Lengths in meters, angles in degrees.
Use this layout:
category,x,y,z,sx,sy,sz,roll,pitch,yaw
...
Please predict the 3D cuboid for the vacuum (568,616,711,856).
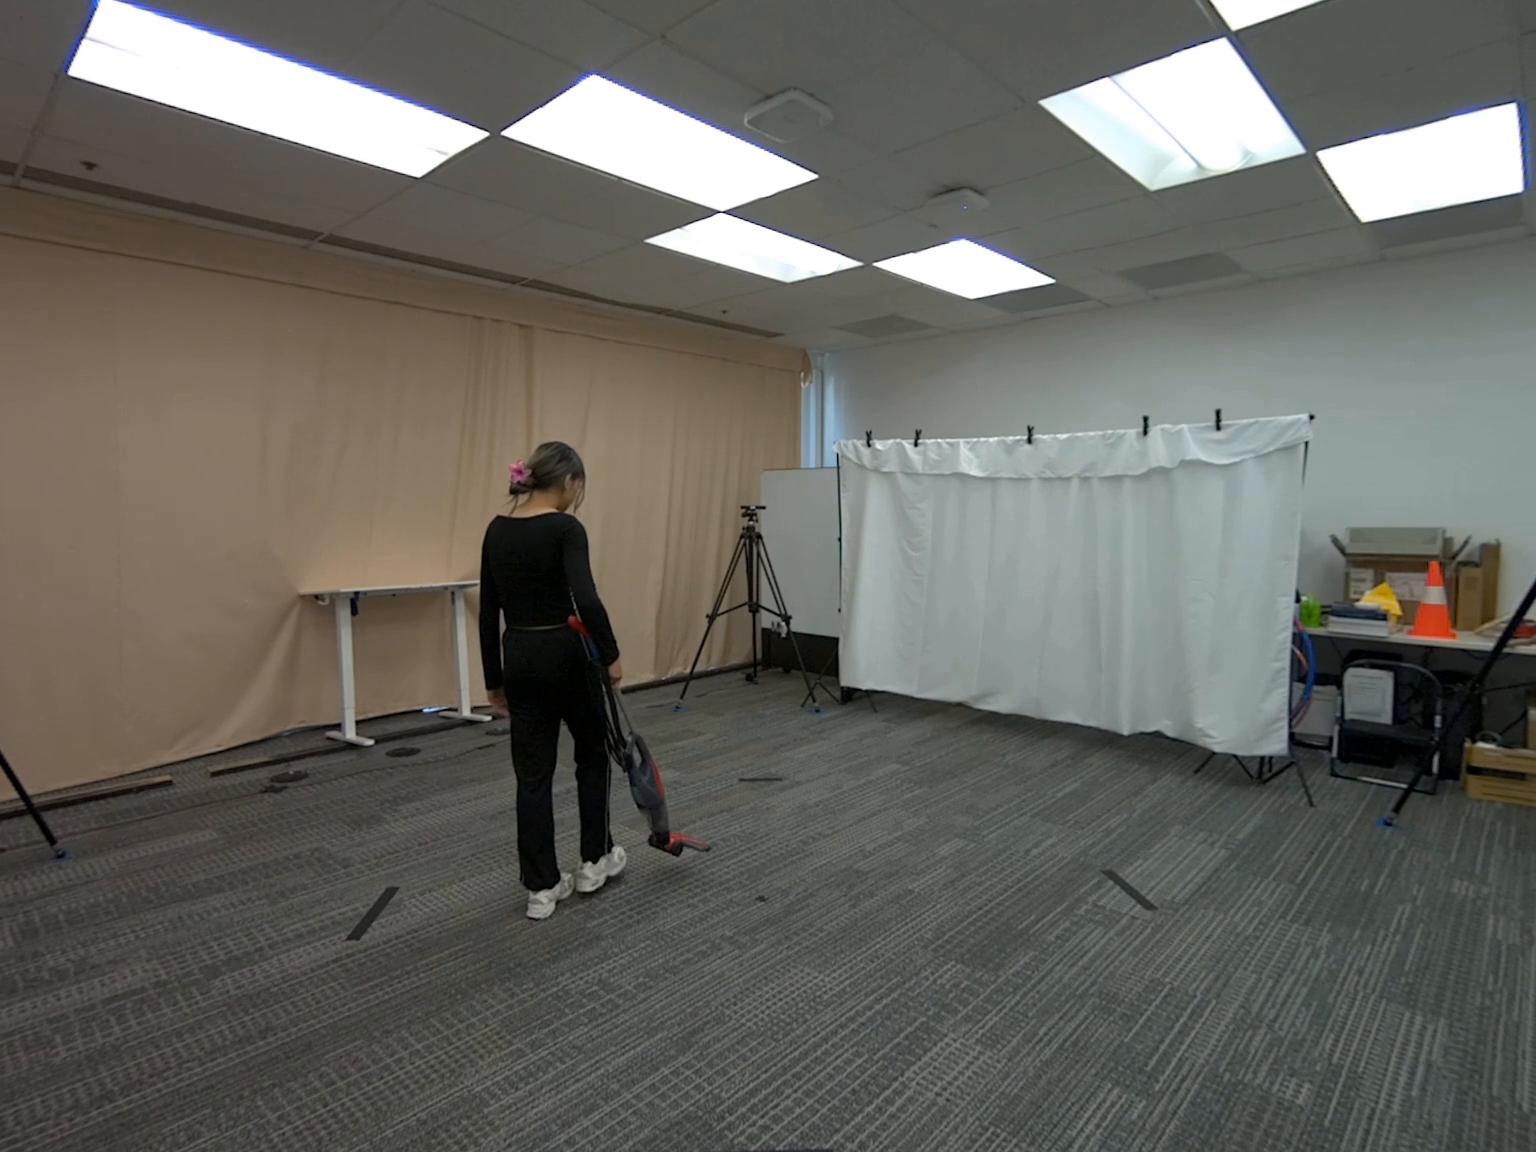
category,x,y,z,sx,sy,sz,roll,pitch,yaw
vacuum,-0.479,0.578,2.918,0.261,1.026,0.142,6,34,39
